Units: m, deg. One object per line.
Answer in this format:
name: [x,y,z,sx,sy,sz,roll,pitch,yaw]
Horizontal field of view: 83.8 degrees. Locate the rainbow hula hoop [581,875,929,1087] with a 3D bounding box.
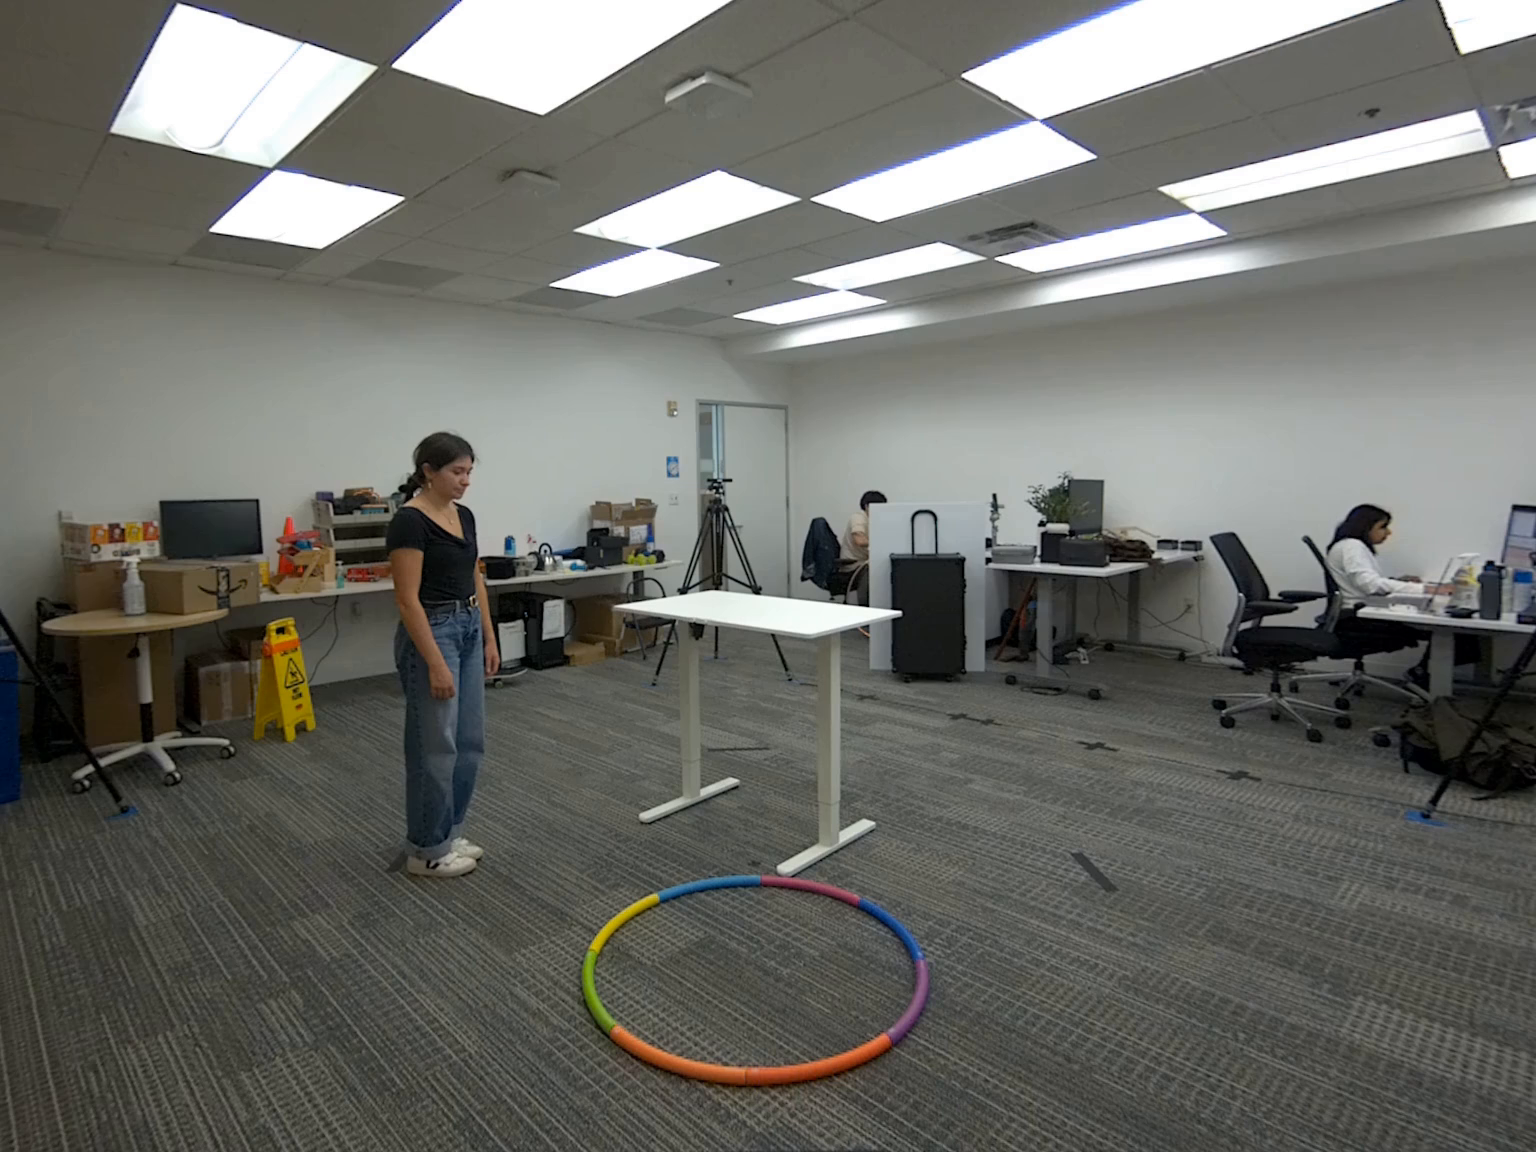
rainbow hula hoop: [-0.031,1.089,2.466,0.978,0.035,0.984,-1,7,-2]
